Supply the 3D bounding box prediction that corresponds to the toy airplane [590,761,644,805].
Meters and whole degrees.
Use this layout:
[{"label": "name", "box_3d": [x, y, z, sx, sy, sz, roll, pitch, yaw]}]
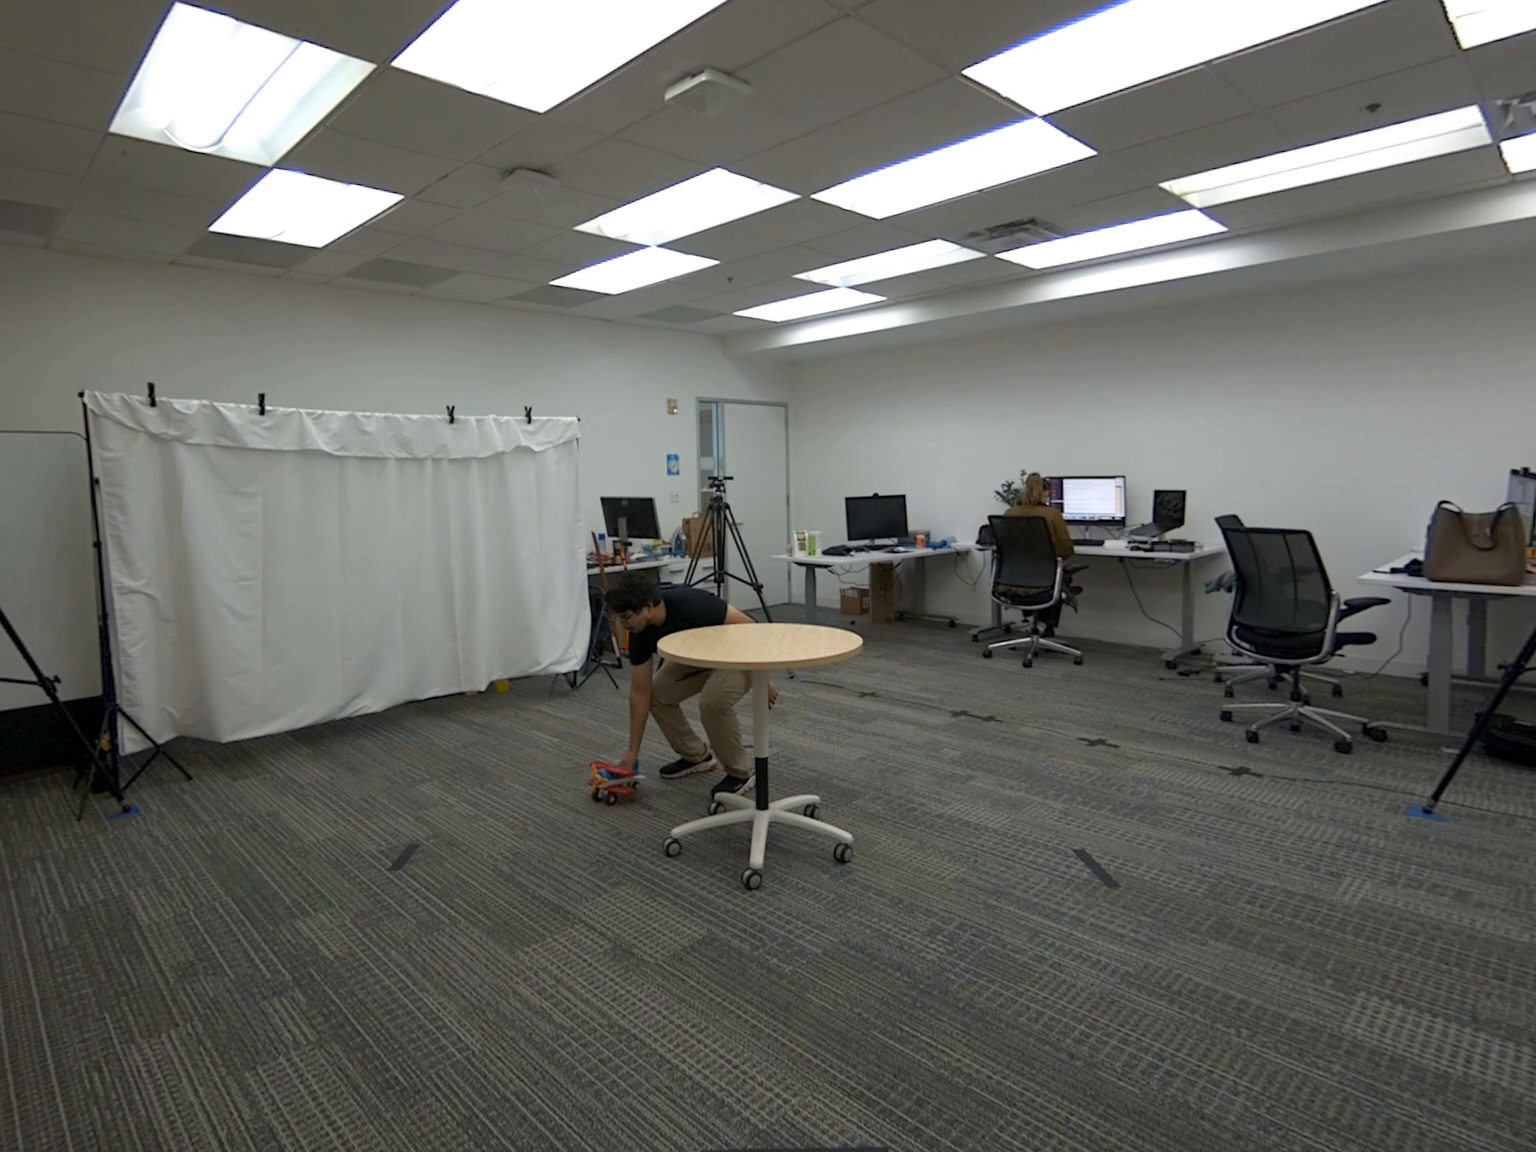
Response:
[{"label": "toy airplane", "box_3d": [-0.681, 0.897, 3.773, 0.253, 0.155, 0.260, -2, 11, 7]}]
